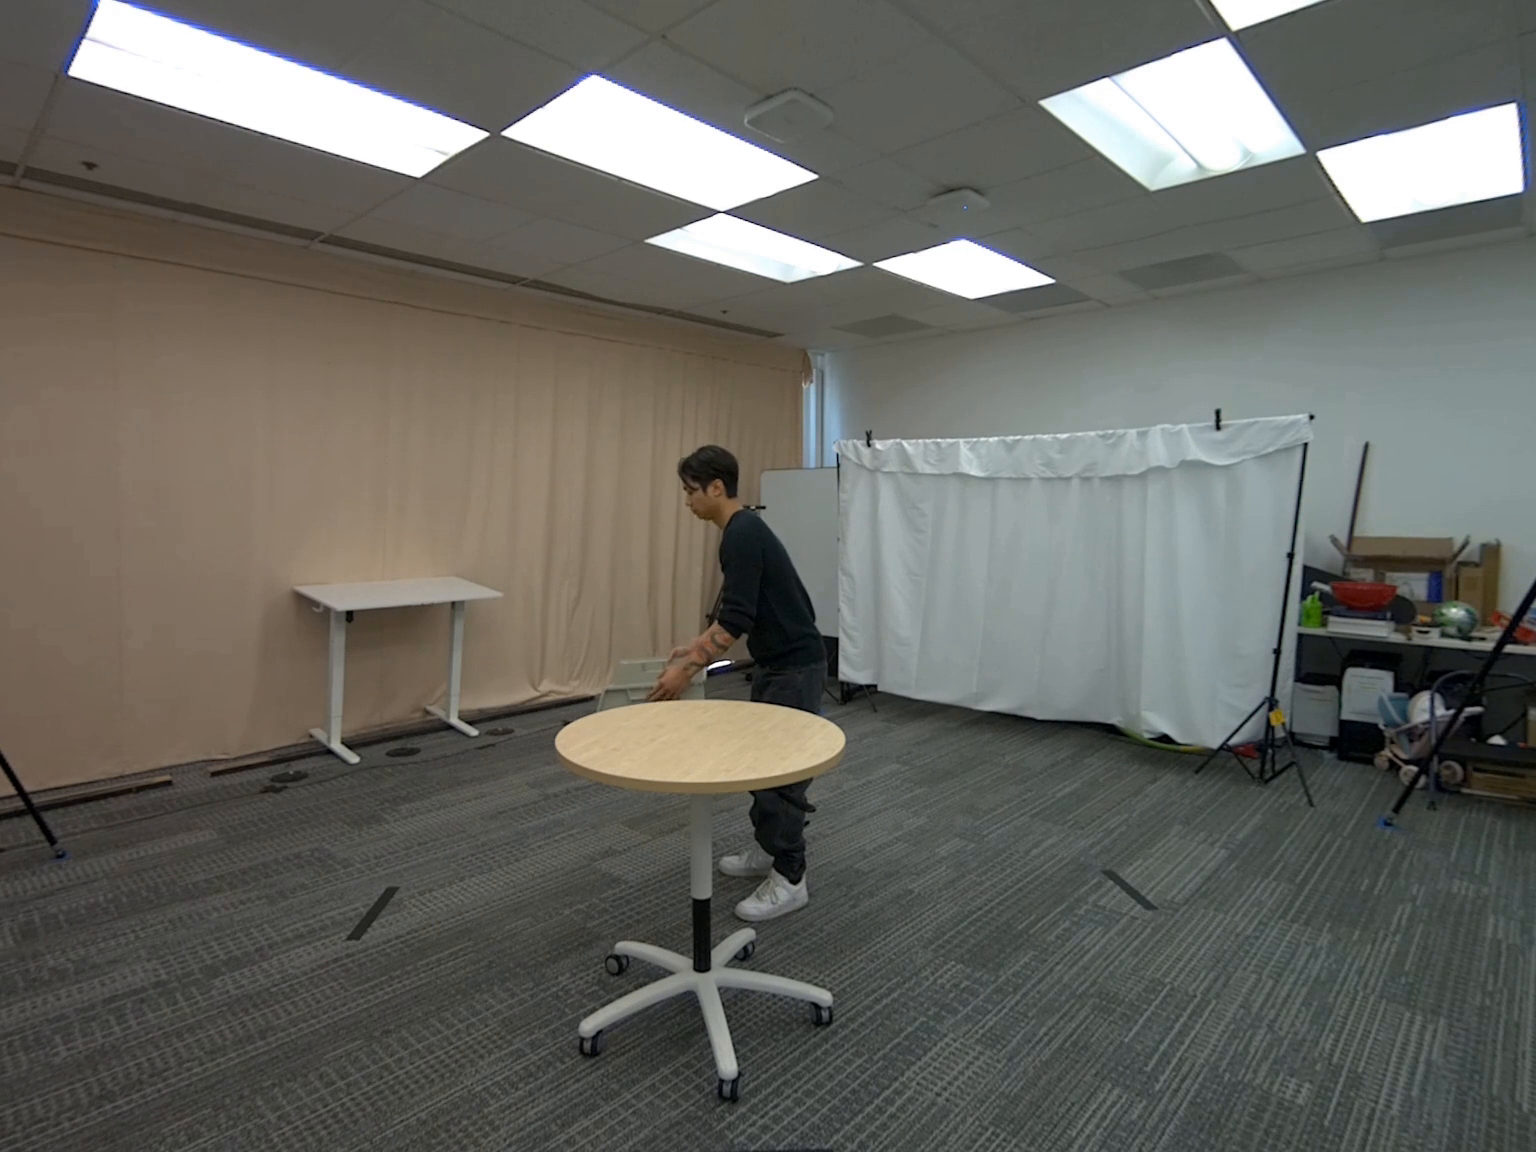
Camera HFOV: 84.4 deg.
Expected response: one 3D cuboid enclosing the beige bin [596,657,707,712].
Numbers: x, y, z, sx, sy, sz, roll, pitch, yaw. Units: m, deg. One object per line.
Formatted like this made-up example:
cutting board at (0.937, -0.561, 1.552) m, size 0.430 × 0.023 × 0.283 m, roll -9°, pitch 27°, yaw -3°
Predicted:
beige bin at (-0.407, 0.429, 3.025) m, size 0.377 × 0.188 × 0.423 m, roll -2°, pitch 4°, yaw -1°
